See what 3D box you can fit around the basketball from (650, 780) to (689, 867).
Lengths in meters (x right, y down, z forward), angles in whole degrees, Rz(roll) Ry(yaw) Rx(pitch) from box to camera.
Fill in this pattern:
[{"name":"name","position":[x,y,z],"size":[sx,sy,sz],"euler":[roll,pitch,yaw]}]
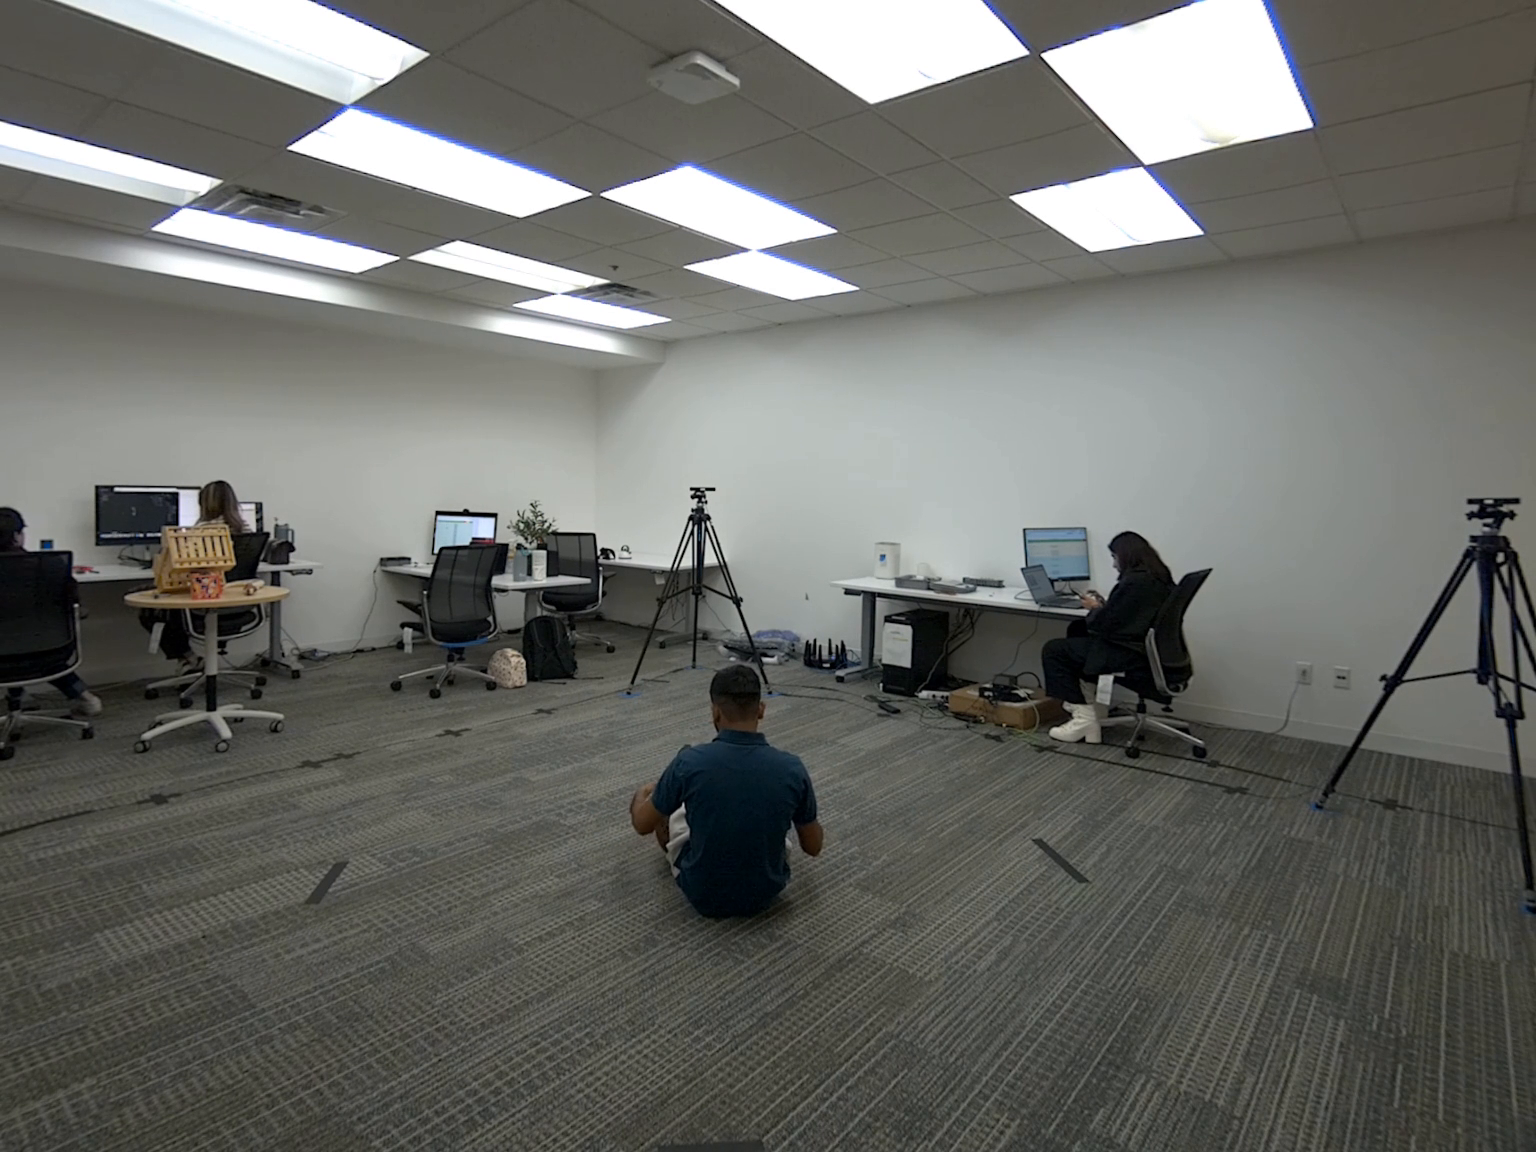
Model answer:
[{"name":"basketball","position":[-0.318,0.931,3.176],"size":[0.235,0.235,0.237],"euler":[1,4,-2]}]
